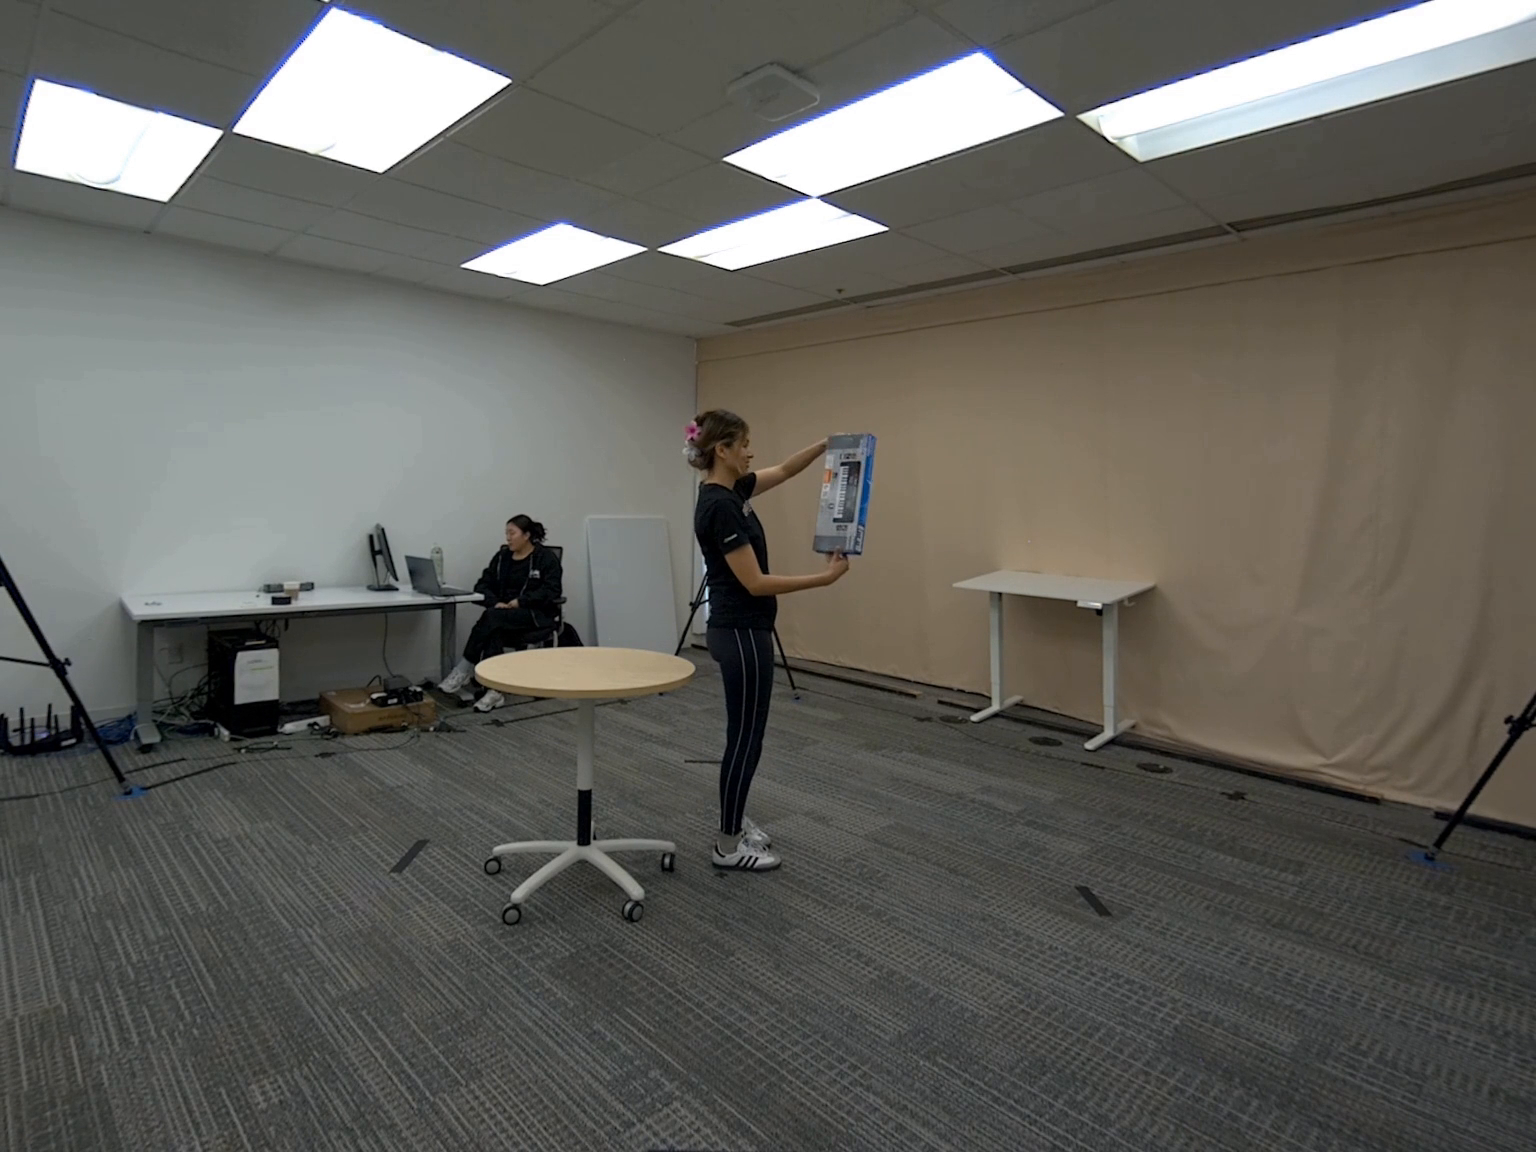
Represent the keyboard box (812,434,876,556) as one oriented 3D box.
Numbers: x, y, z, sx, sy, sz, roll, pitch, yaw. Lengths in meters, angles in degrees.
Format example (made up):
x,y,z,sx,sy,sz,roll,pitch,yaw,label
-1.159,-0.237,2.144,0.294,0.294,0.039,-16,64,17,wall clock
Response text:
x,y,z,sx,sy,sz,roll,pitch,yaw,label
0.268,-0.297,3.045,0.180,0.439,0.057,1,-11,37,keyboard box
